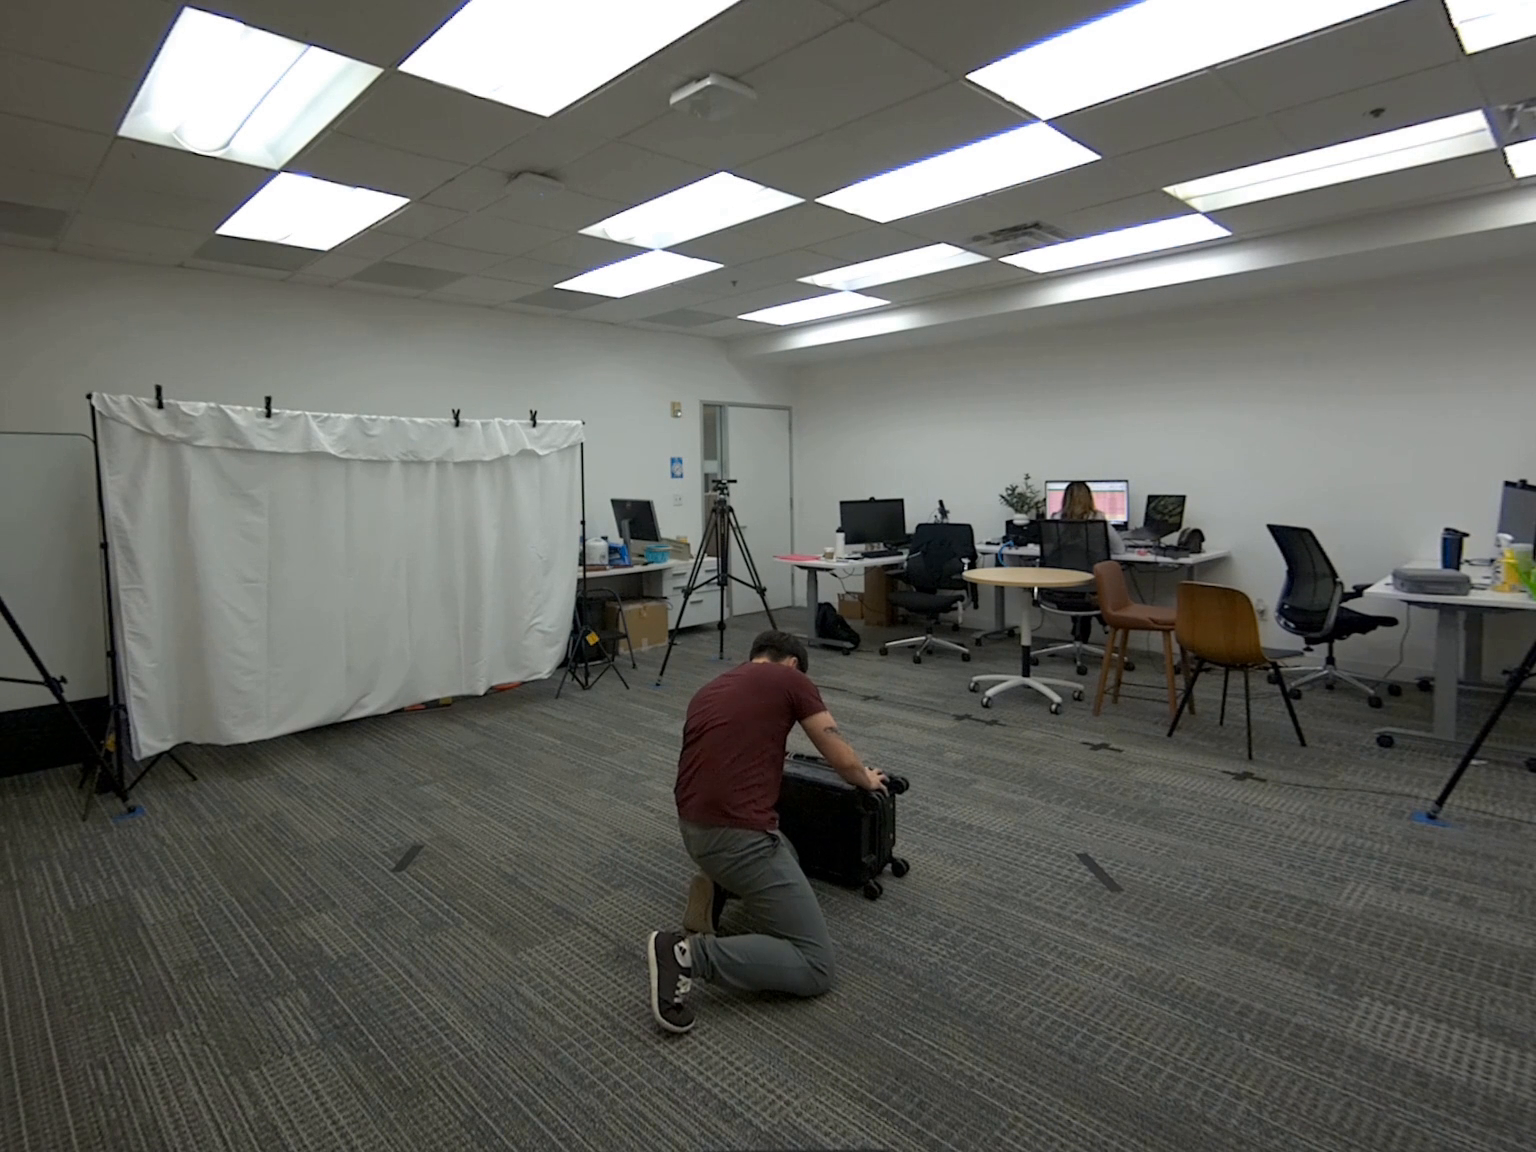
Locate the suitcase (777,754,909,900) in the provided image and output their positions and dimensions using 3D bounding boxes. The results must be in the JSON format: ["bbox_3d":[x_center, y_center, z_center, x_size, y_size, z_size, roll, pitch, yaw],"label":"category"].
[{"bbox_3d":[0.044,0.845,3.206,1.007,0.383,0.250,2,3,36],"label":"suitcase"}]
